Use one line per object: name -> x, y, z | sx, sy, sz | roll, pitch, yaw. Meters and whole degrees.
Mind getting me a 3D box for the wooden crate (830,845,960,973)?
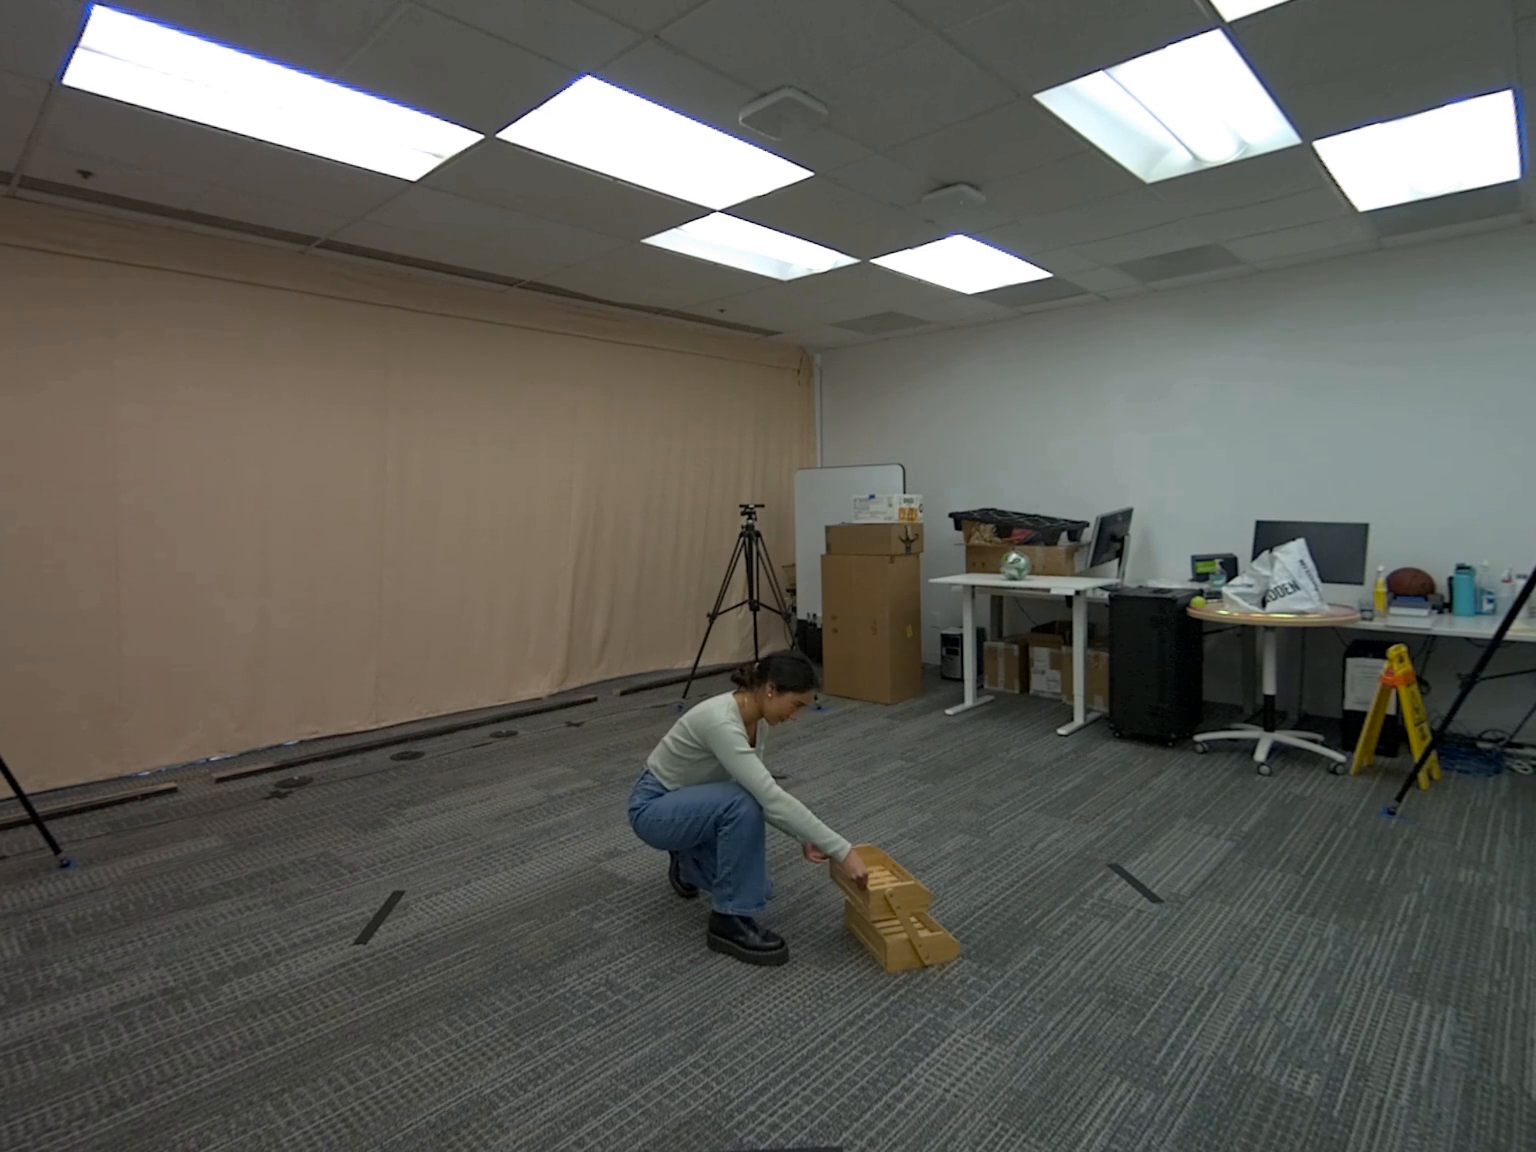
wooden crate -> 0.404, 1.027, 2.652 | 0.297, 0.272, 0.331 | -3, 4, -18
